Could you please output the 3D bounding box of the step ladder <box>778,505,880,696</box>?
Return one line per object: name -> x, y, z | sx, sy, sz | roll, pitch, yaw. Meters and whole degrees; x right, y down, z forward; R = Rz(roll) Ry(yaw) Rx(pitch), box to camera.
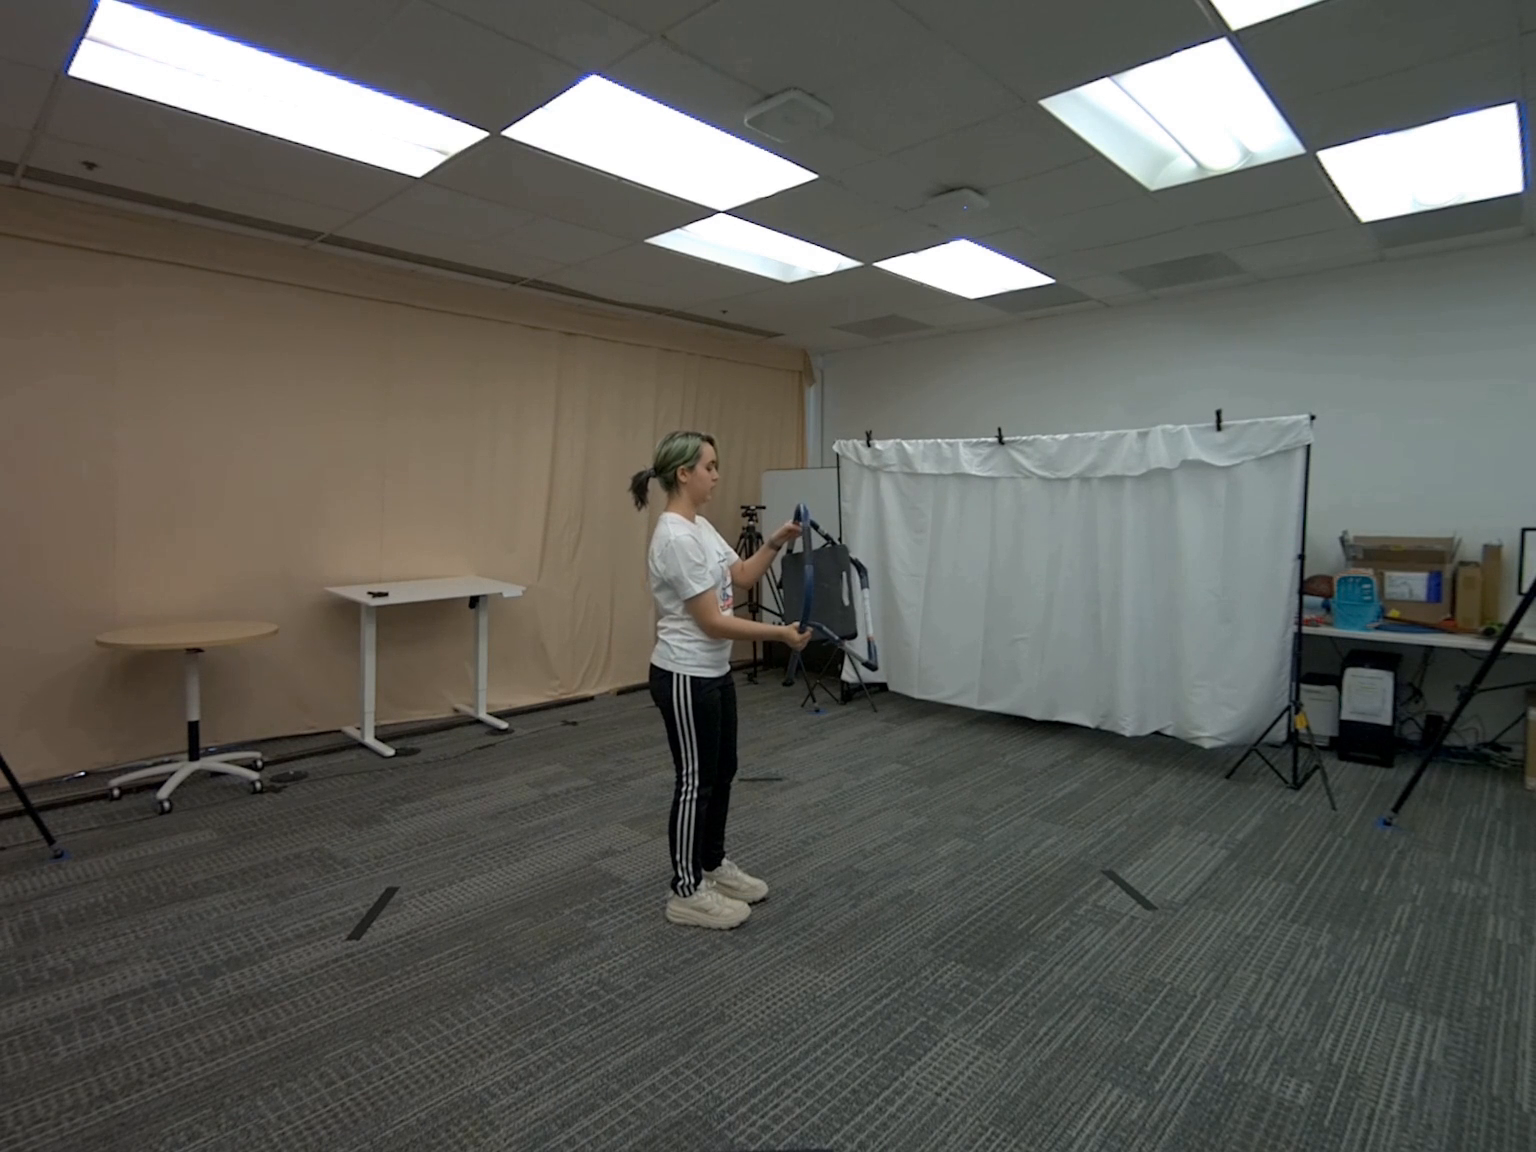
step ladder -> 0.142, 0.045, 2.838 | 0.354, 0.438, 0.588 | -10, -30, 13
